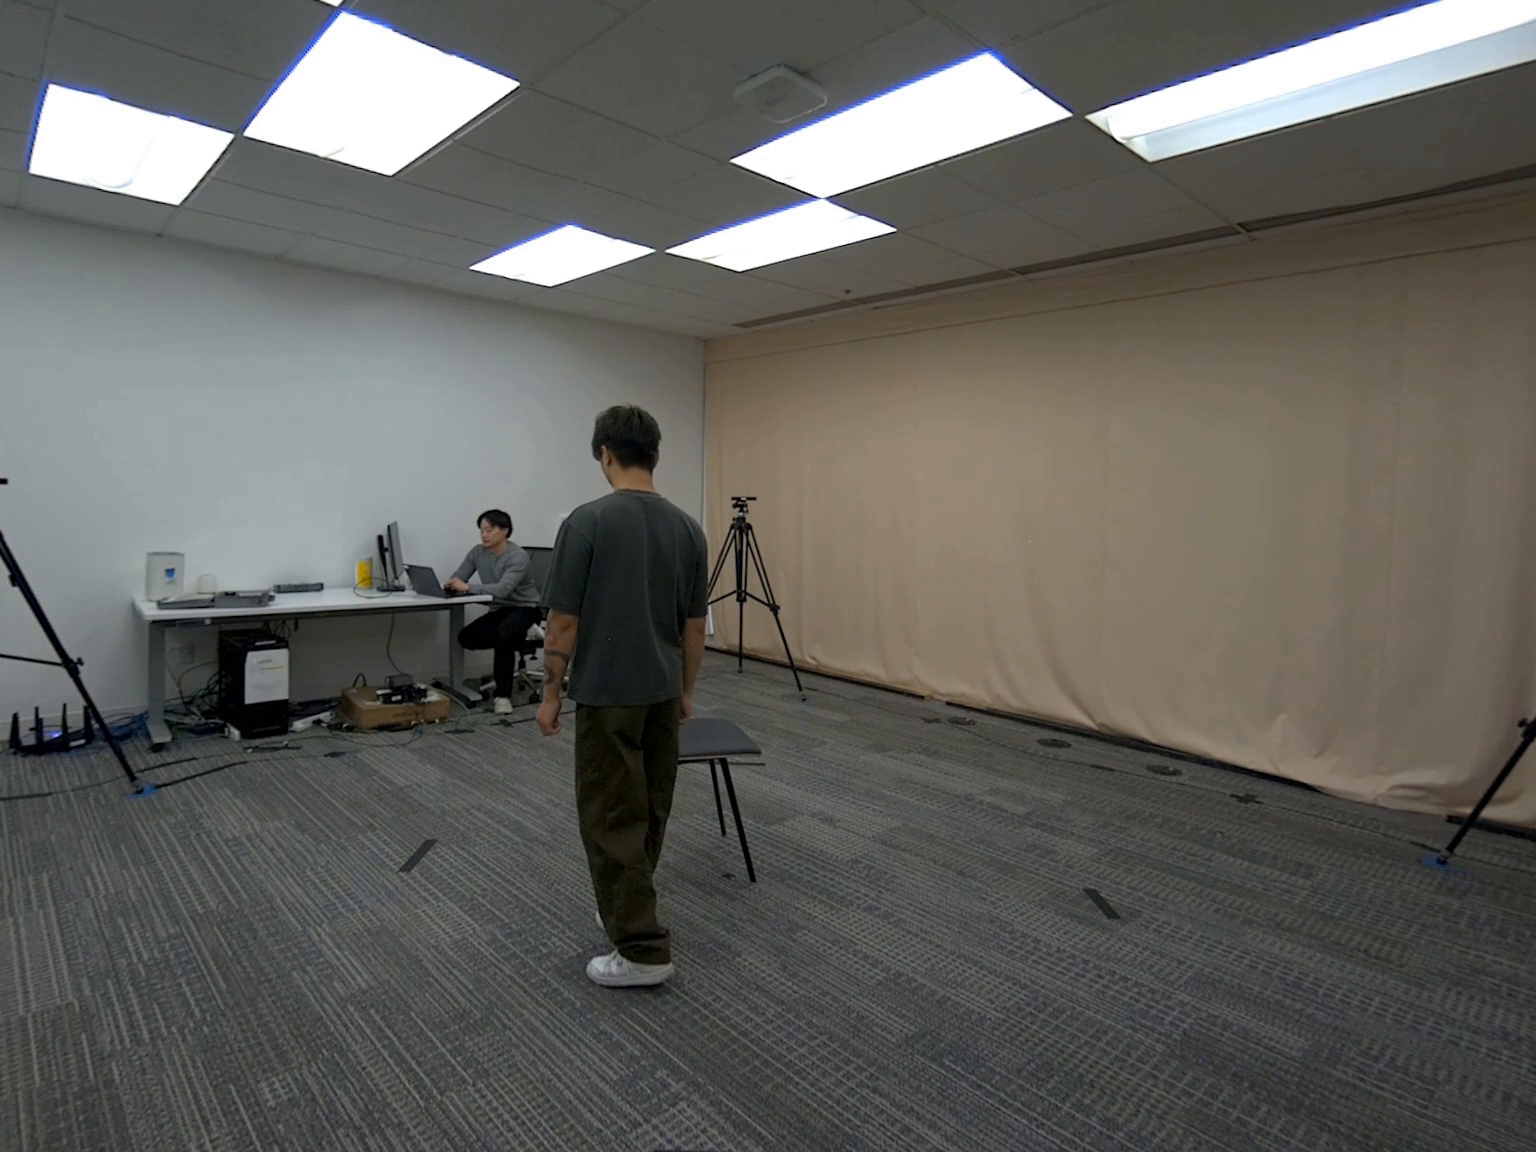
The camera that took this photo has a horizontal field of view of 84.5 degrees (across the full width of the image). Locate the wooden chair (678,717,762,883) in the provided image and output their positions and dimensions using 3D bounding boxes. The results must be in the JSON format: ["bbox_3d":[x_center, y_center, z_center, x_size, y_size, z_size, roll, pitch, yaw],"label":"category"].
[{"bbox_3d":[-0.313,0.671,3.189,0.517,0.875,0.485,-4,4,-16],"label":"wooden chair"}]
